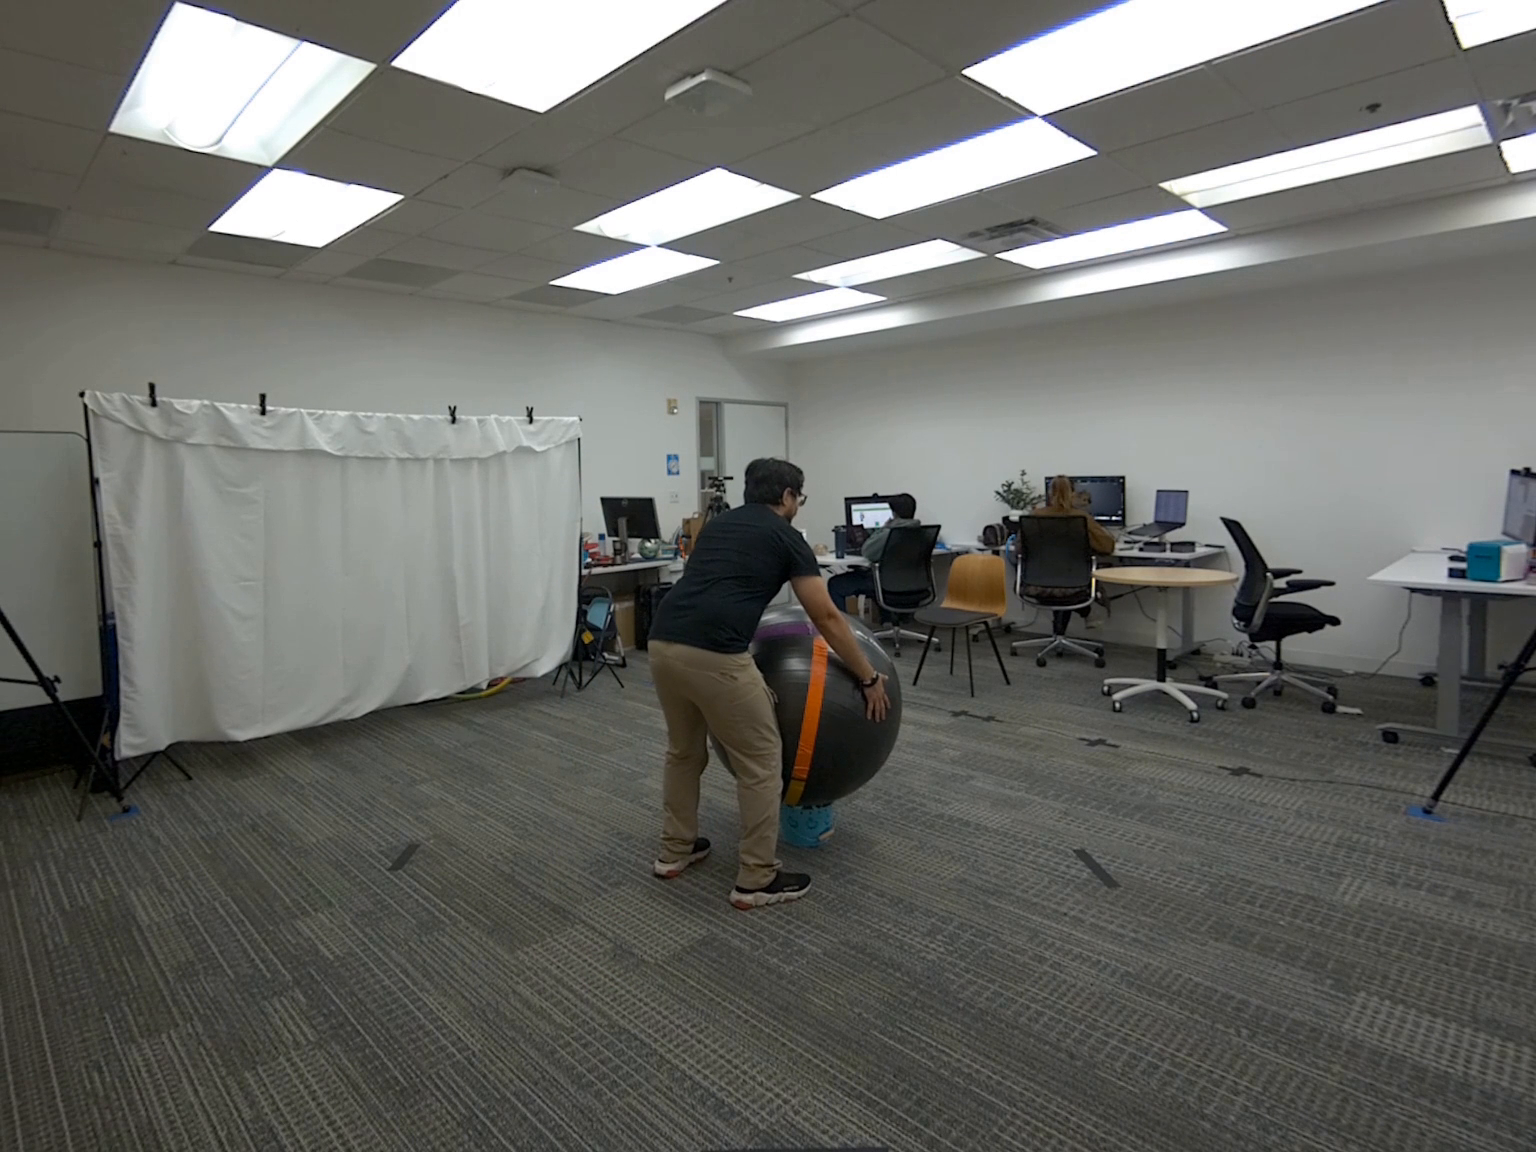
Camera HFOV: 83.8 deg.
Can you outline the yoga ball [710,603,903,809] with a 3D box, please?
[{"bbox_3d":[0.127,0.487,3.281,0.757,0.755,0.762,-1,5,-2],"label":"yoga ball"}]
